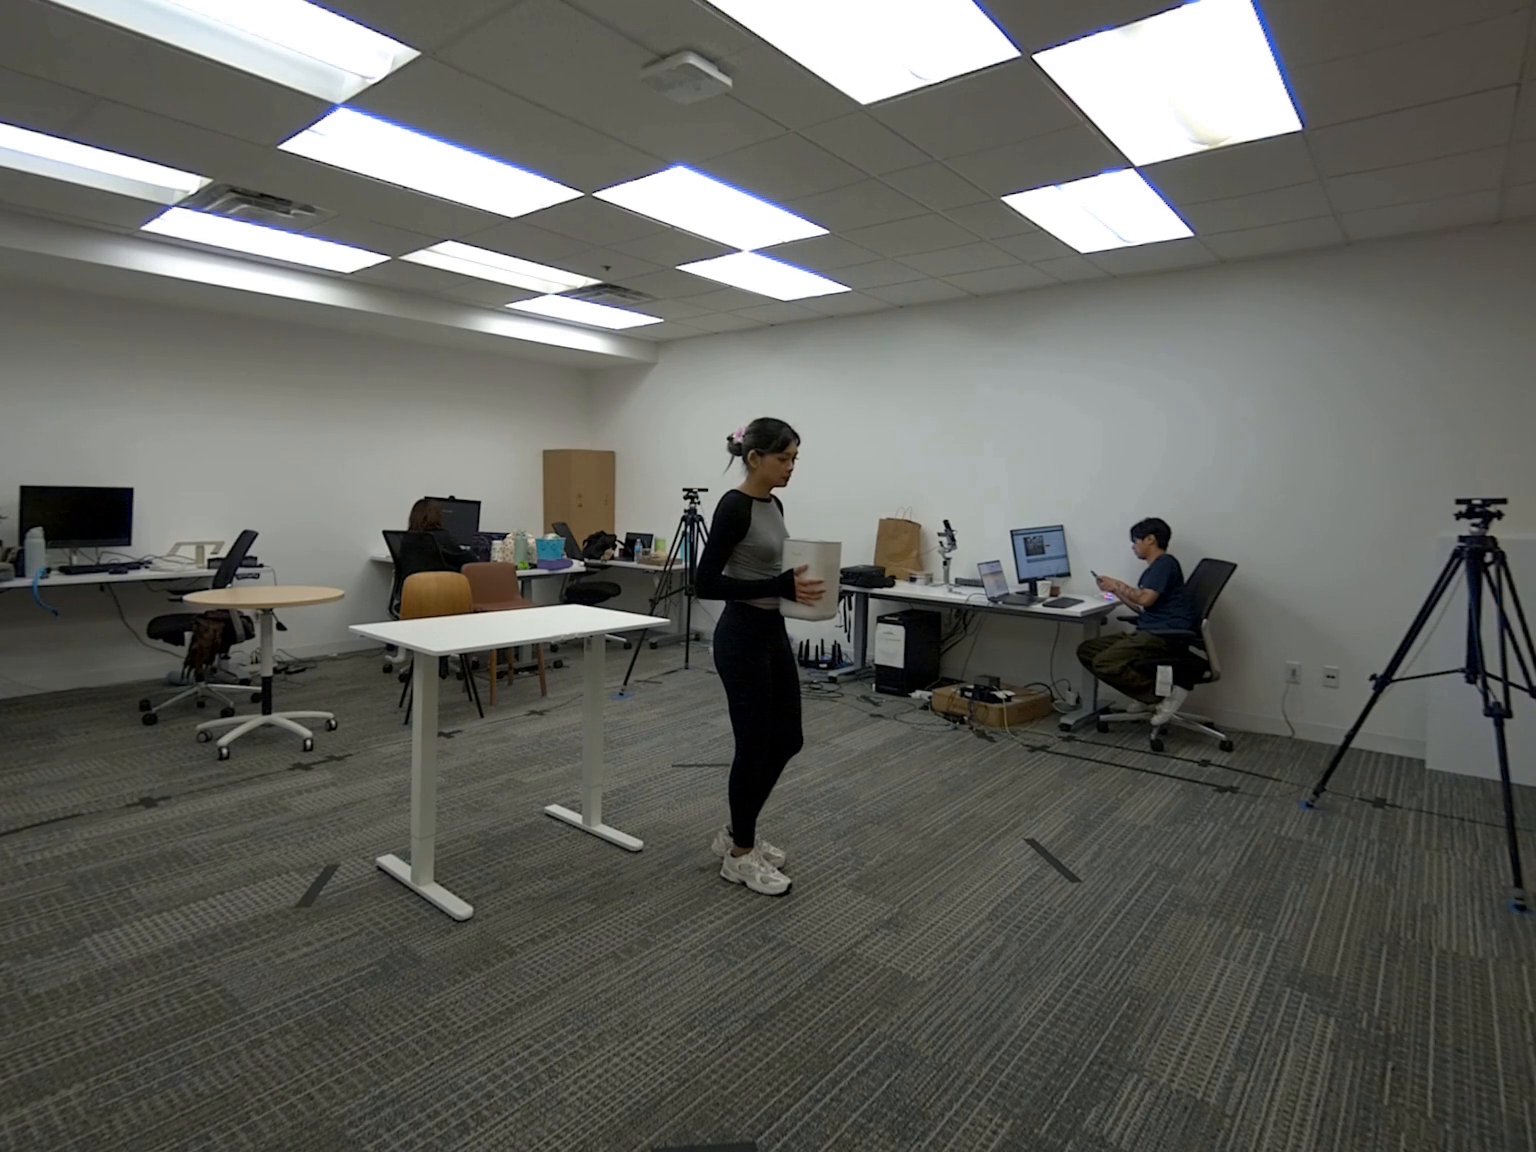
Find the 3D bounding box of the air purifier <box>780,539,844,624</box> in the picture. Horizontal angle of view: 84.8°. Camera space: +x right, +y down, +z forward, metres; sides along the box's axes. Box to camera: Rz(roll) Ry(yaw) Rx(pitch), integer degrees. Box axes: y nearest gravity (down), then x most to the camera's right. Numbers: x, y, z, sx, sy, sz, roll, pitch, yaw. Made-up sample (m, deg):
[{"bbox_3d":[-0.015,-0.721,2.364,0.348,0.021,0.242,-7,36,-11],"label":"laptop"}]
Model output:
[{"bbox_3d":[0.130,0.012,2.852,0.177,0.265,0.166,5,2,37],"label":"air purifier"}]
